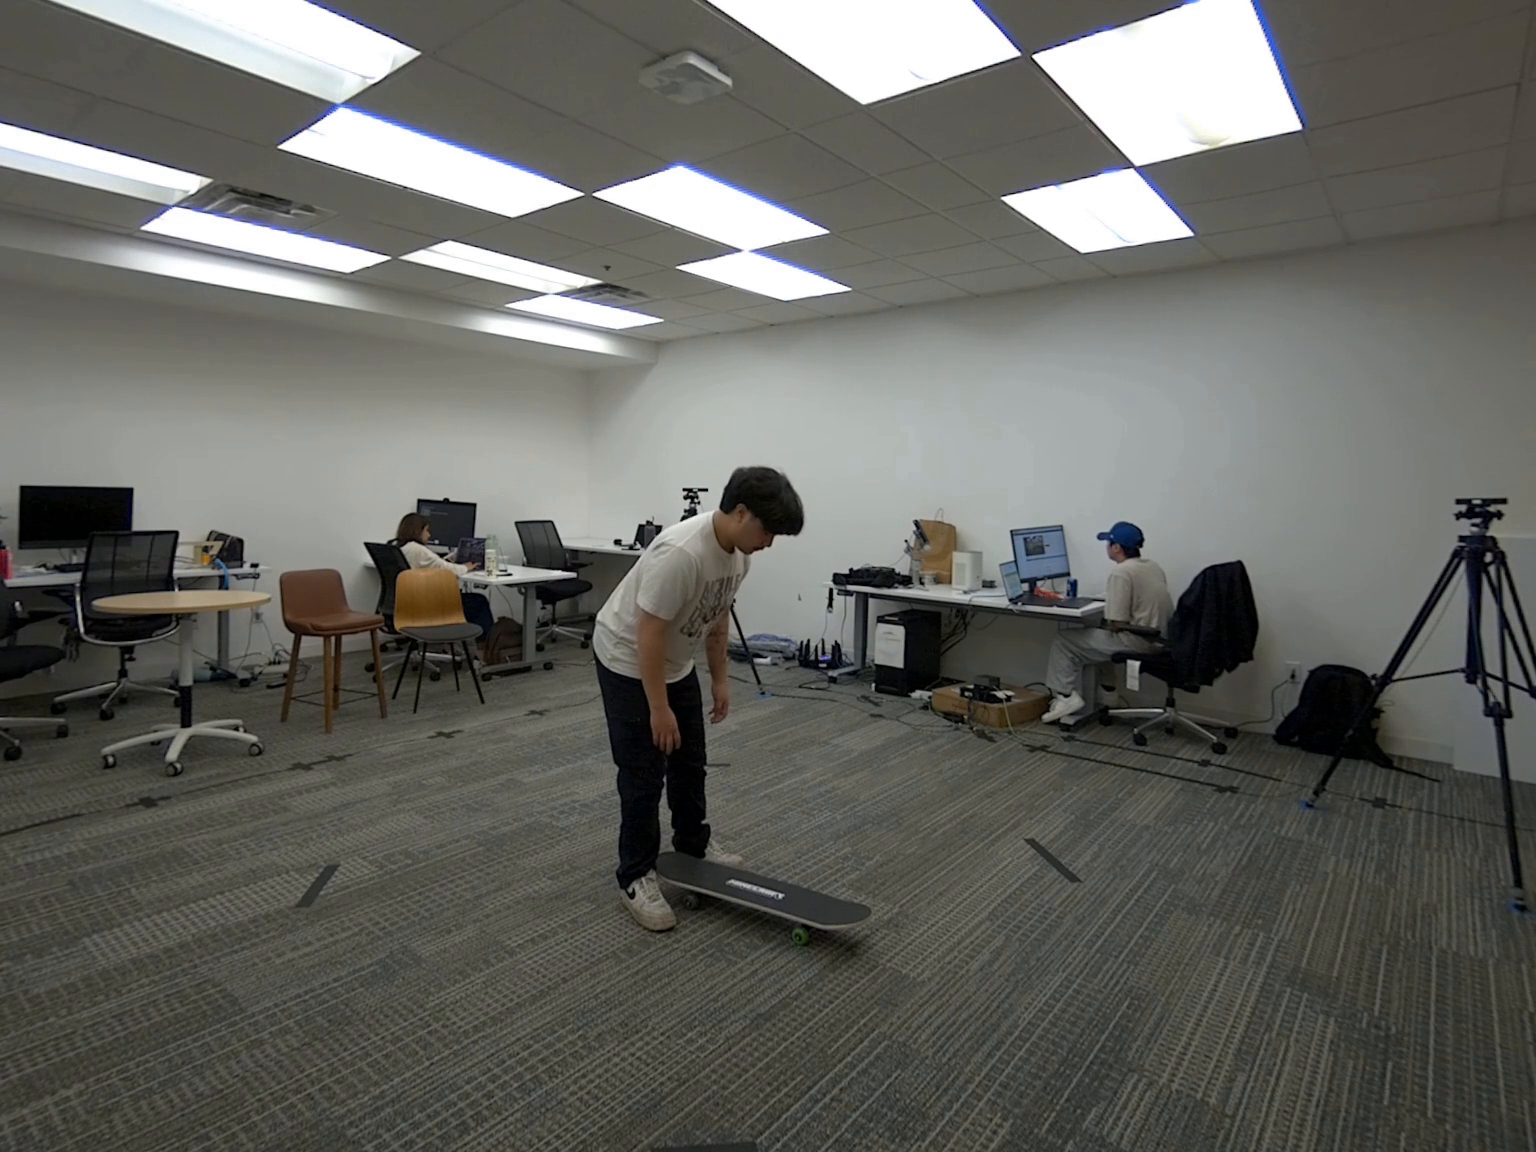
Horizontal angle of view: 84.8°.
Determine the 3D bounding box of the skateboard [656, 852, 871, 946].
[{"bbox_3d":[-0.046,1.053,2.768,0.808,0.110,0.188,4,5,29],"label":"skateboard"}]
